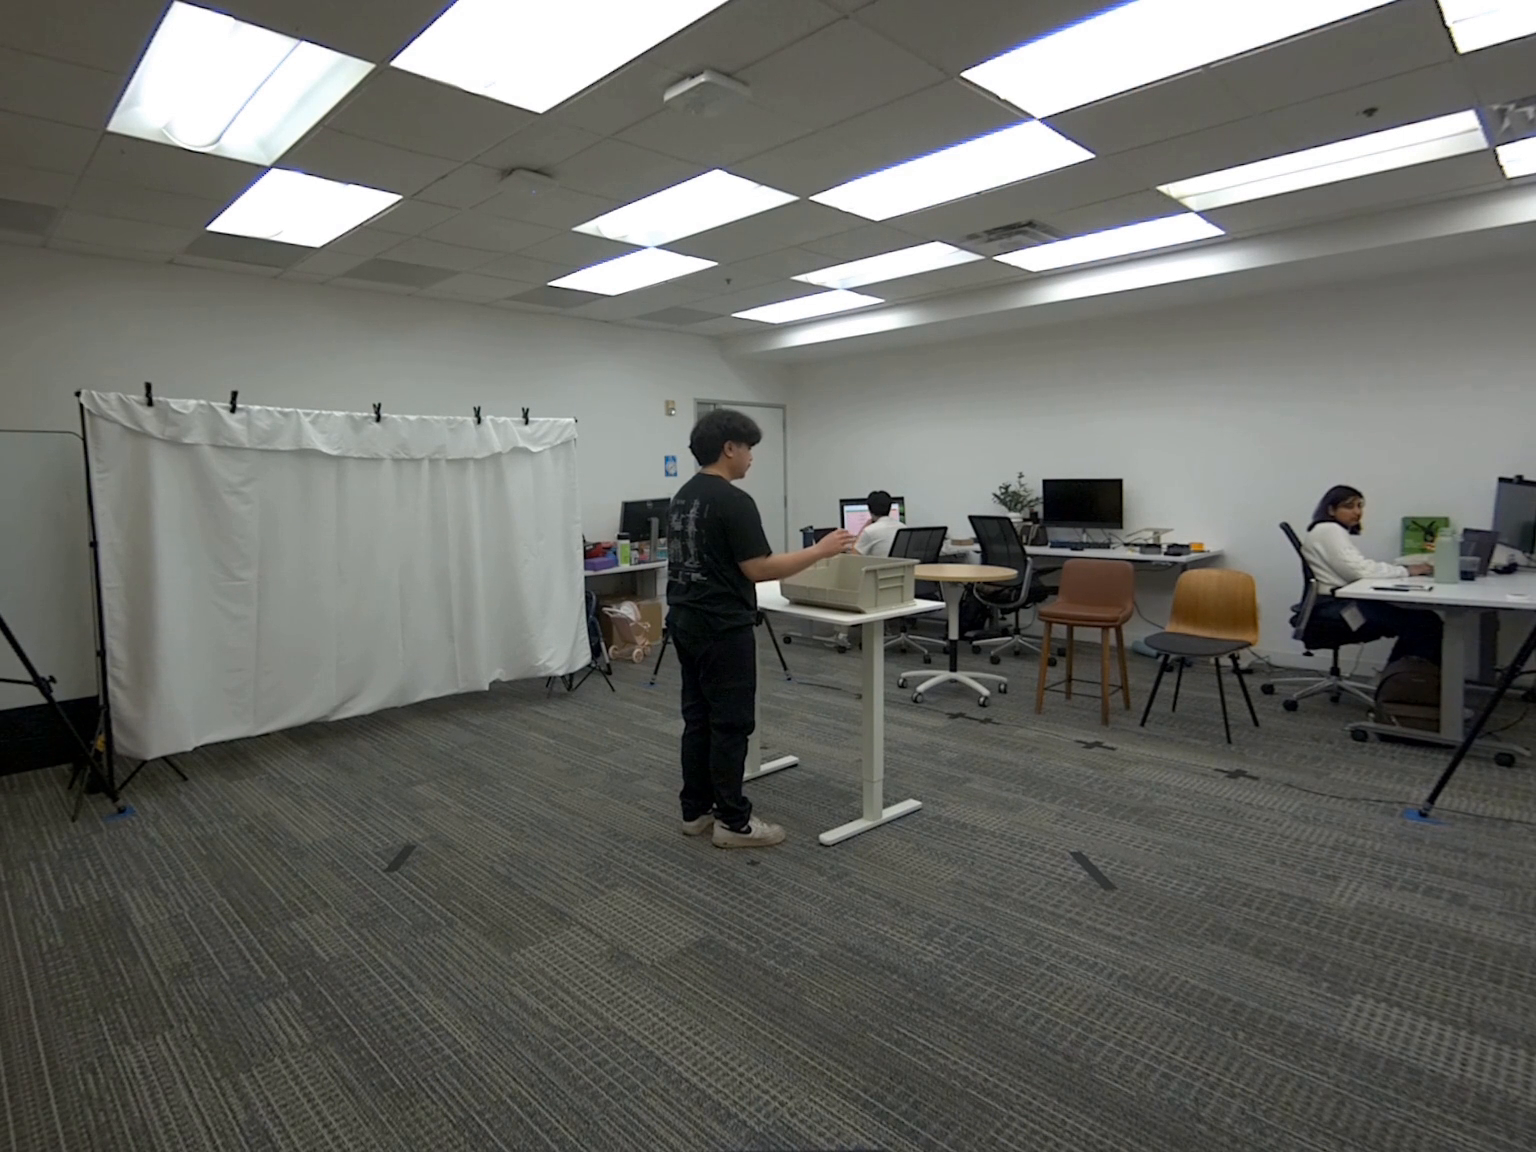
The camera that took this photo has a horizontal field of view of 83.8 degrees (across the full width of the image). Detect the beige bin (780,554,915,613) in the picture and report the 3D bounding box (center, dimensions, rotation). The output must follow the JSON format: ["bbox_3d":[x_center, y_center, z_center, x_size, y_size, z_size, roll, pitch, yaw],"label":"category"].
[{"bbox_3d":[0.321,0.030,3.440,0.367,0.188,0.435,-5,7,-43],"label":"beige bin"}]
